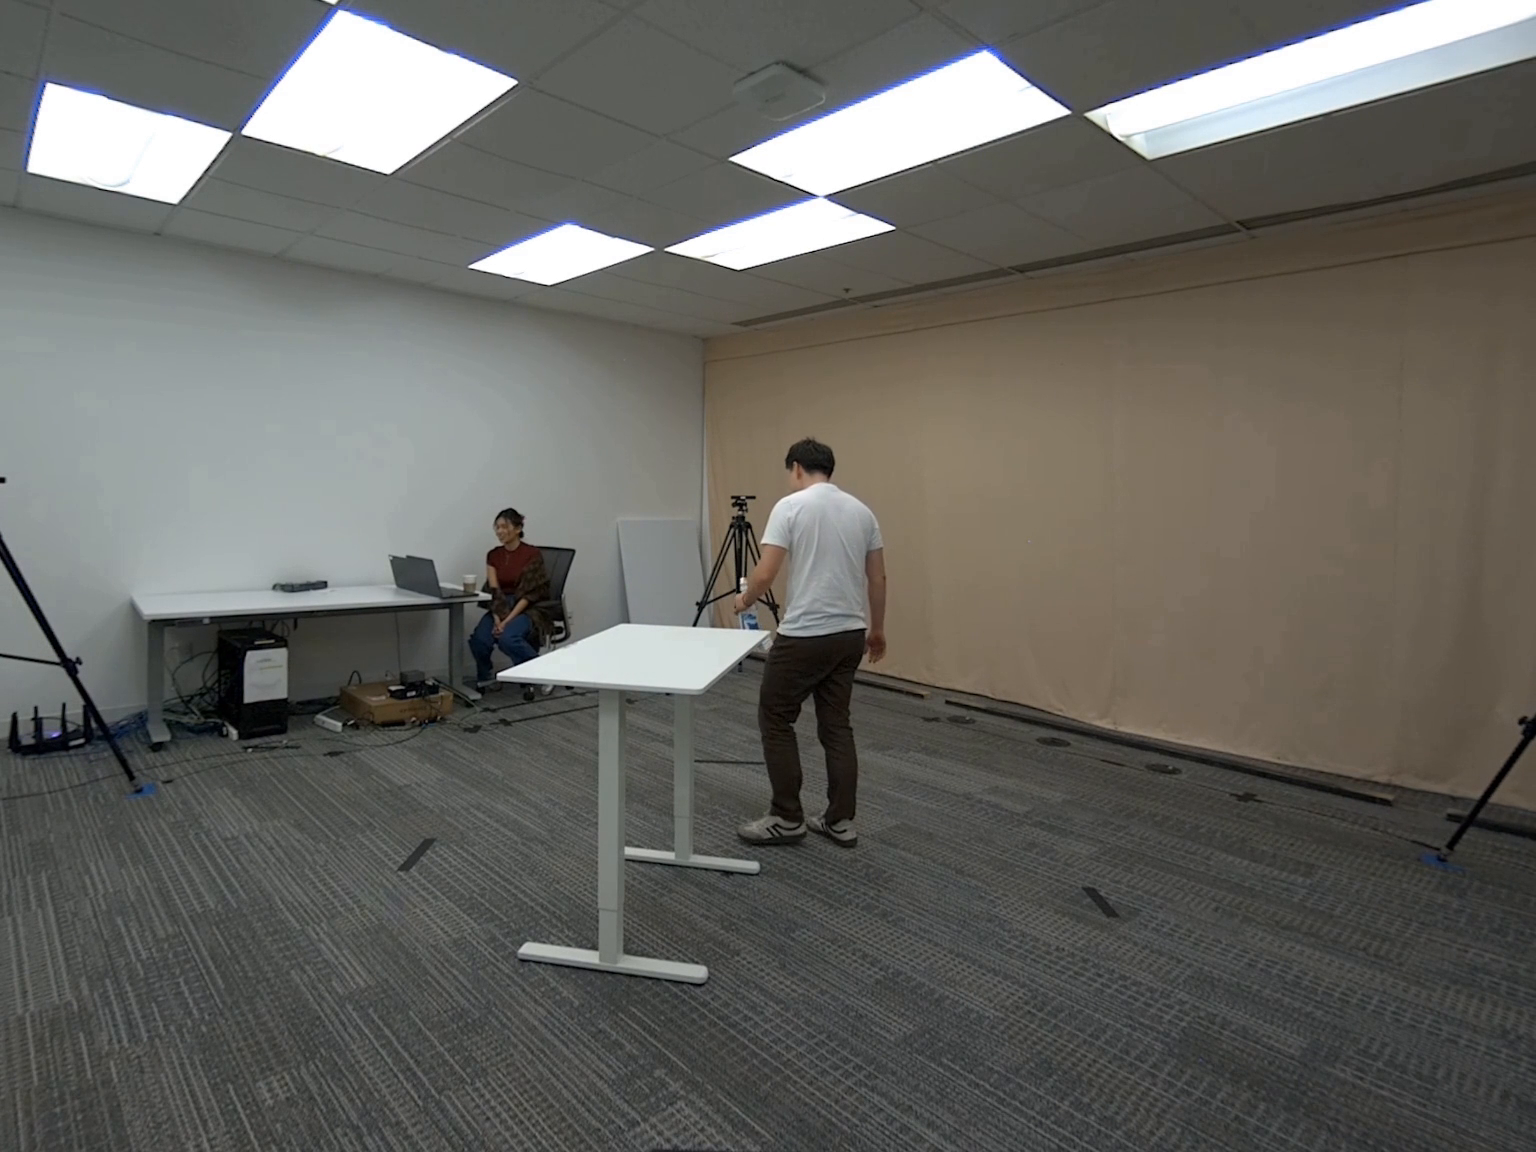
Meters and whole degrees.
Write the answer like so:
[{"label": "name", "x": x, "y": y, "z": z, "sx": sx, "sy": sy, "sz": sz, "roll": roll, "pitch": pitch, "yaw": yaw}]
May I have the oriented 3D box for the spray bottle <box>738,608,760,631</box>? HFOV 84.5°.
[{"label": "spray bottle", "x": -0.088, "y": 0.161, "z": 3.630, "sx": 0.088, "sy": 0.299, "sz": 0.088, "roll": -13, "pitch": -8, "yaw": 33}]
